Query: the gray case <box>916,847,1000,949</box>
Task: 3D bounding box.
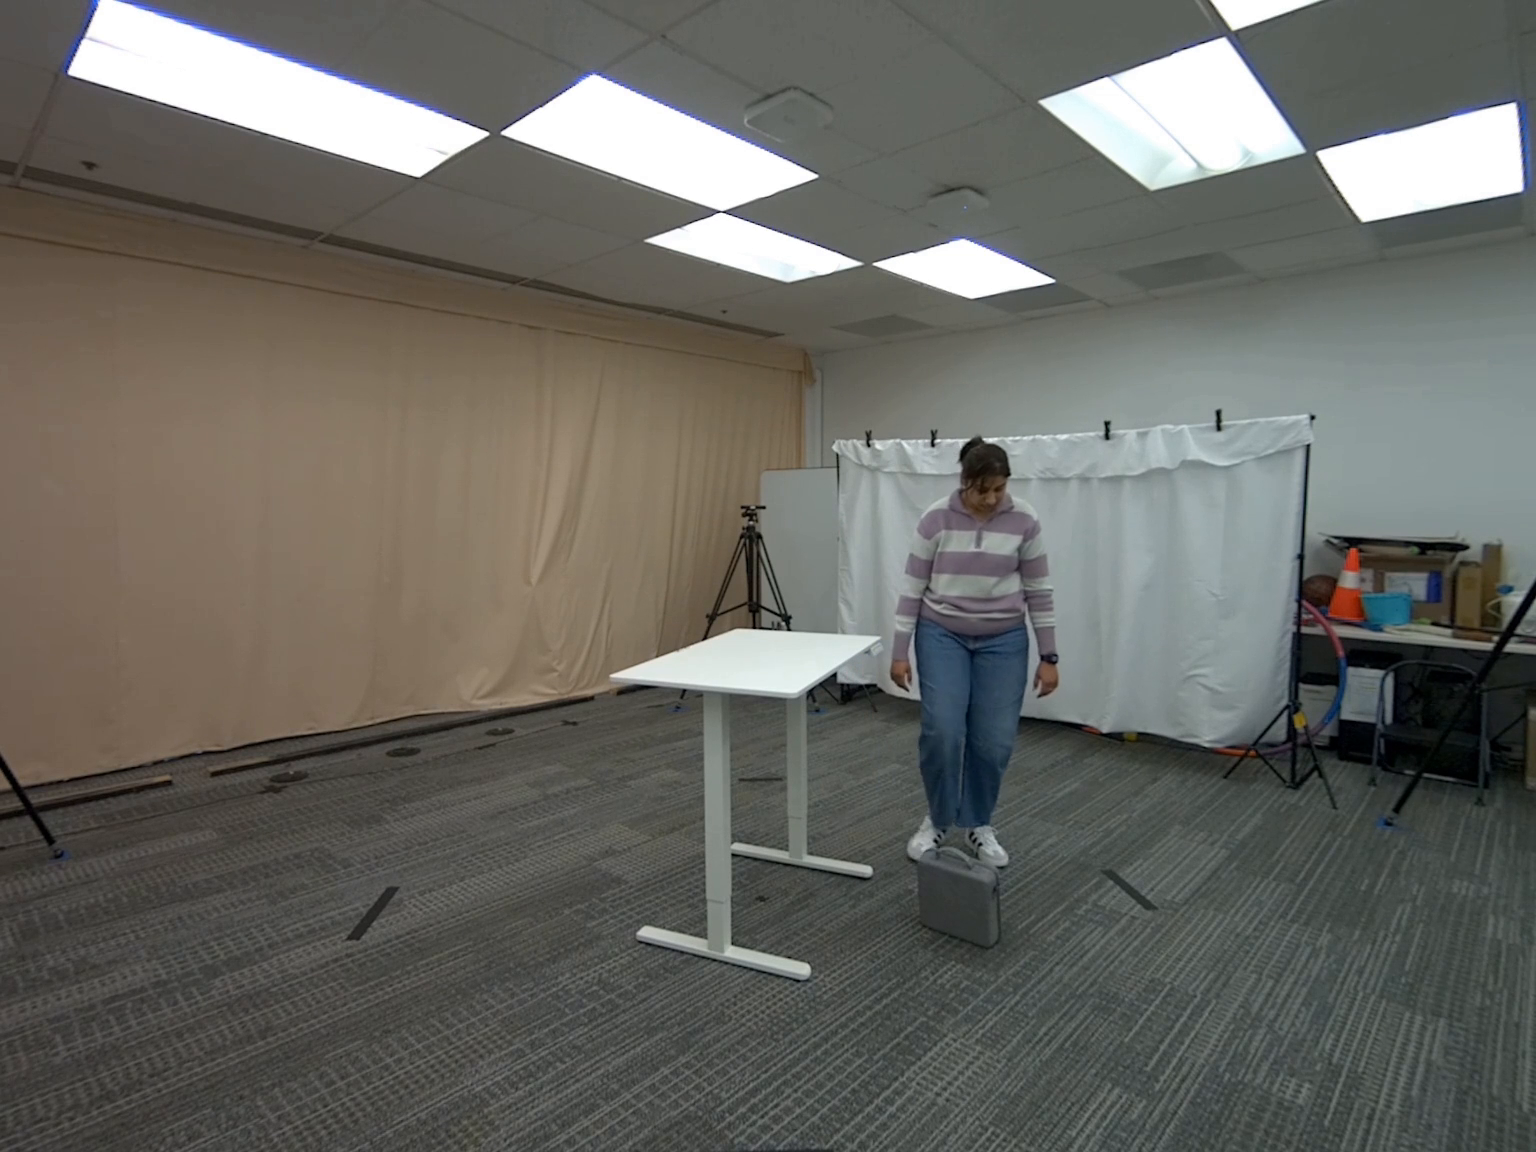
[{"bbox_3d":[0.626,1.034,2.715,0.265,0.258,0.102,4,14,39],"label":"gray case"}]
